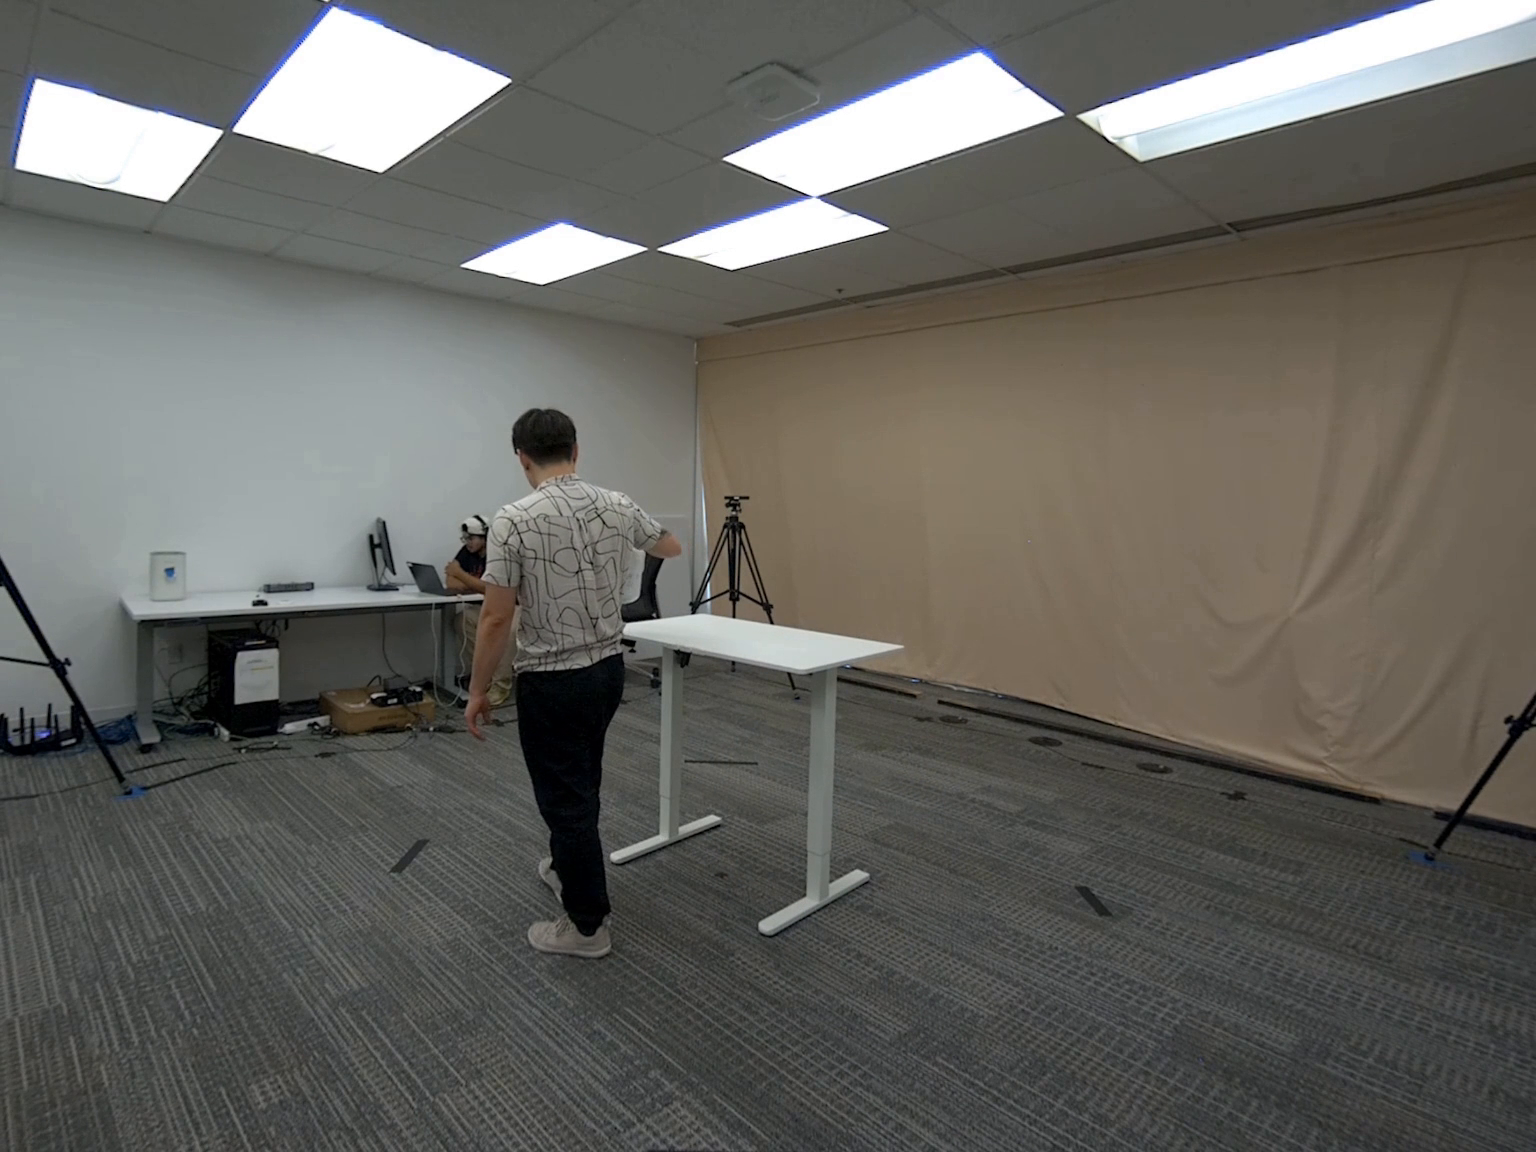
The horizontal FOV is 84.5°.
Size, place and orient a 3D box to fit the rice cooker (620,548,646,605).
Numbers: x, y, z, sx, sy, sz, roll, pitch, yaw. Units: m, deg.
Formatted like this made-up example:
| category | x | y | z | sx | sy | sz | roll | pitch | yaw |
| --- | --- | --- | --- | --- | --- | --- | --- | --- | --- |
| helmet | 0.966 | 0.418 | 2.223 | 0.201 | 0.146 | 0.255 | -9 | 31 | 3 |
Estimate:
| category | x | y | z | sx | sy | sz | roll | pitch | yaw |
| --- | --- | --- | --- | --- | --- | --- | --- | --- | --- |
| rice cooker | -0.560 | -0.027 | 3.023 | 0.219 | 0.232 | 0.220 | 7 | 4 | -10 |
